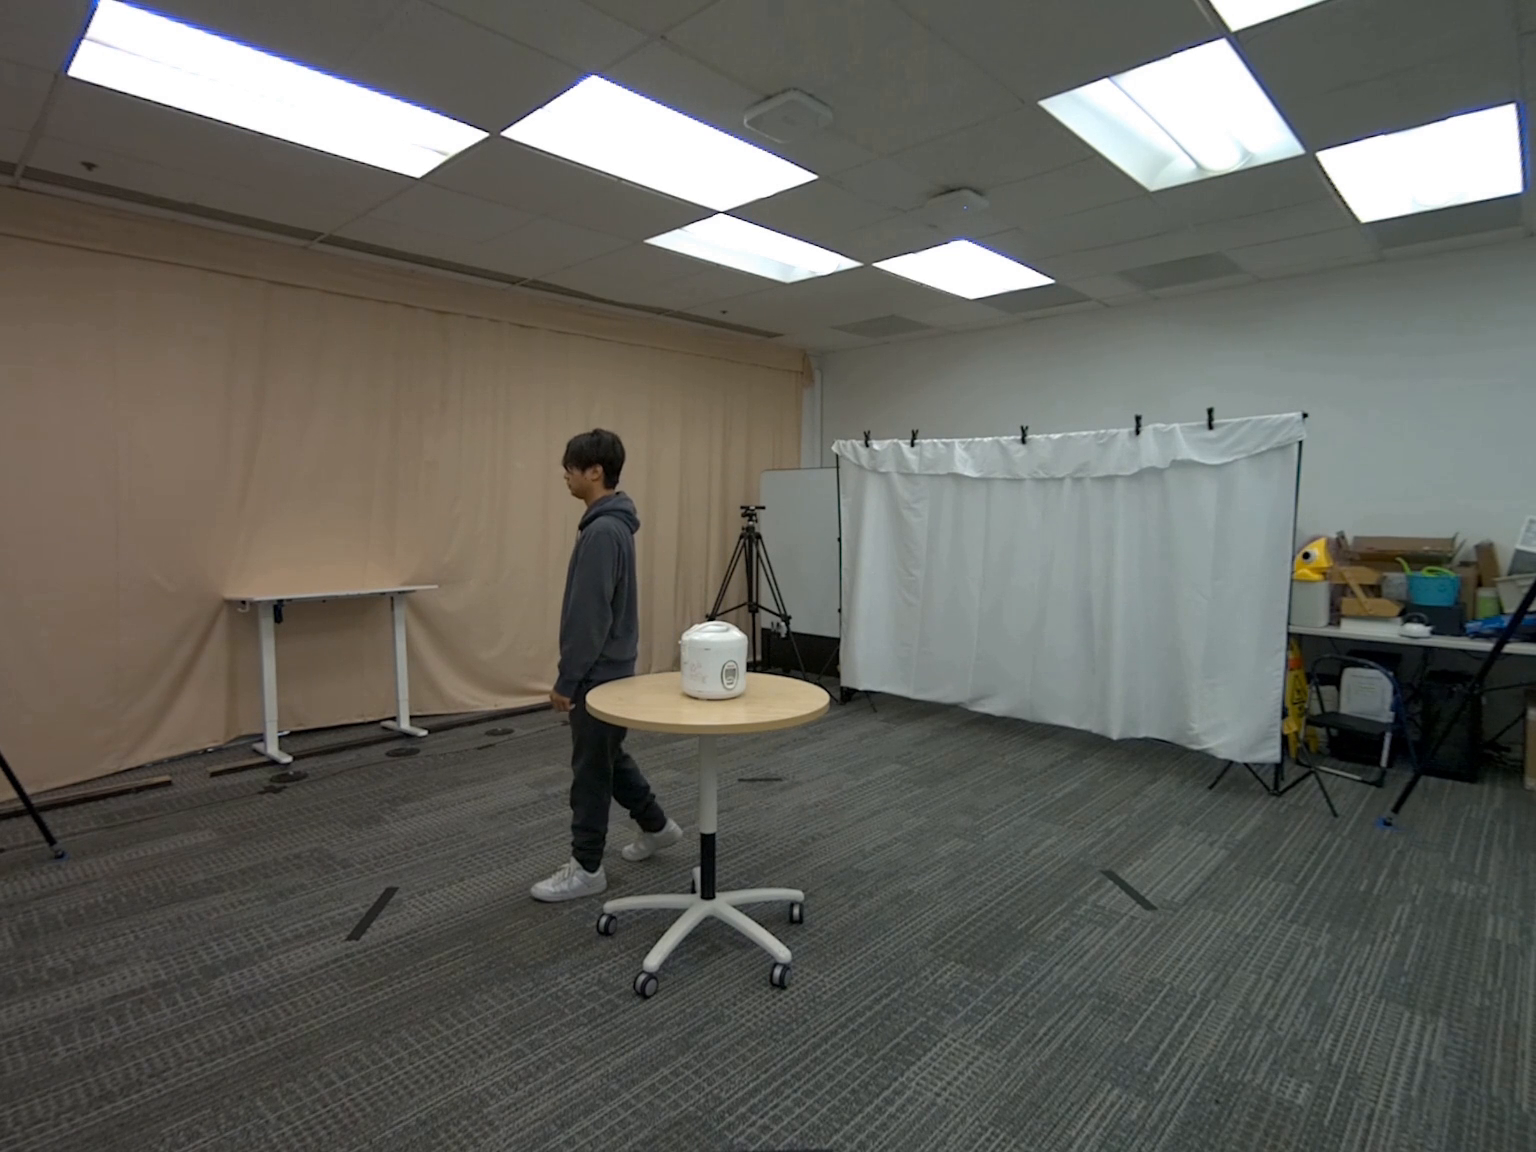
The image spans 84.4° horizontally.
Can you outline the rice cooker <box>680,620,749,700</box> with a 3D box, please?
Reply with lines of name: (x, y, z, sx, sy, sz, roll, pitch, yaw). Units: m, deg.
rice cooker: (-0.166, 0.260, 2.653, 0.215, 0.232, 0.223, -2, 3, -30)
